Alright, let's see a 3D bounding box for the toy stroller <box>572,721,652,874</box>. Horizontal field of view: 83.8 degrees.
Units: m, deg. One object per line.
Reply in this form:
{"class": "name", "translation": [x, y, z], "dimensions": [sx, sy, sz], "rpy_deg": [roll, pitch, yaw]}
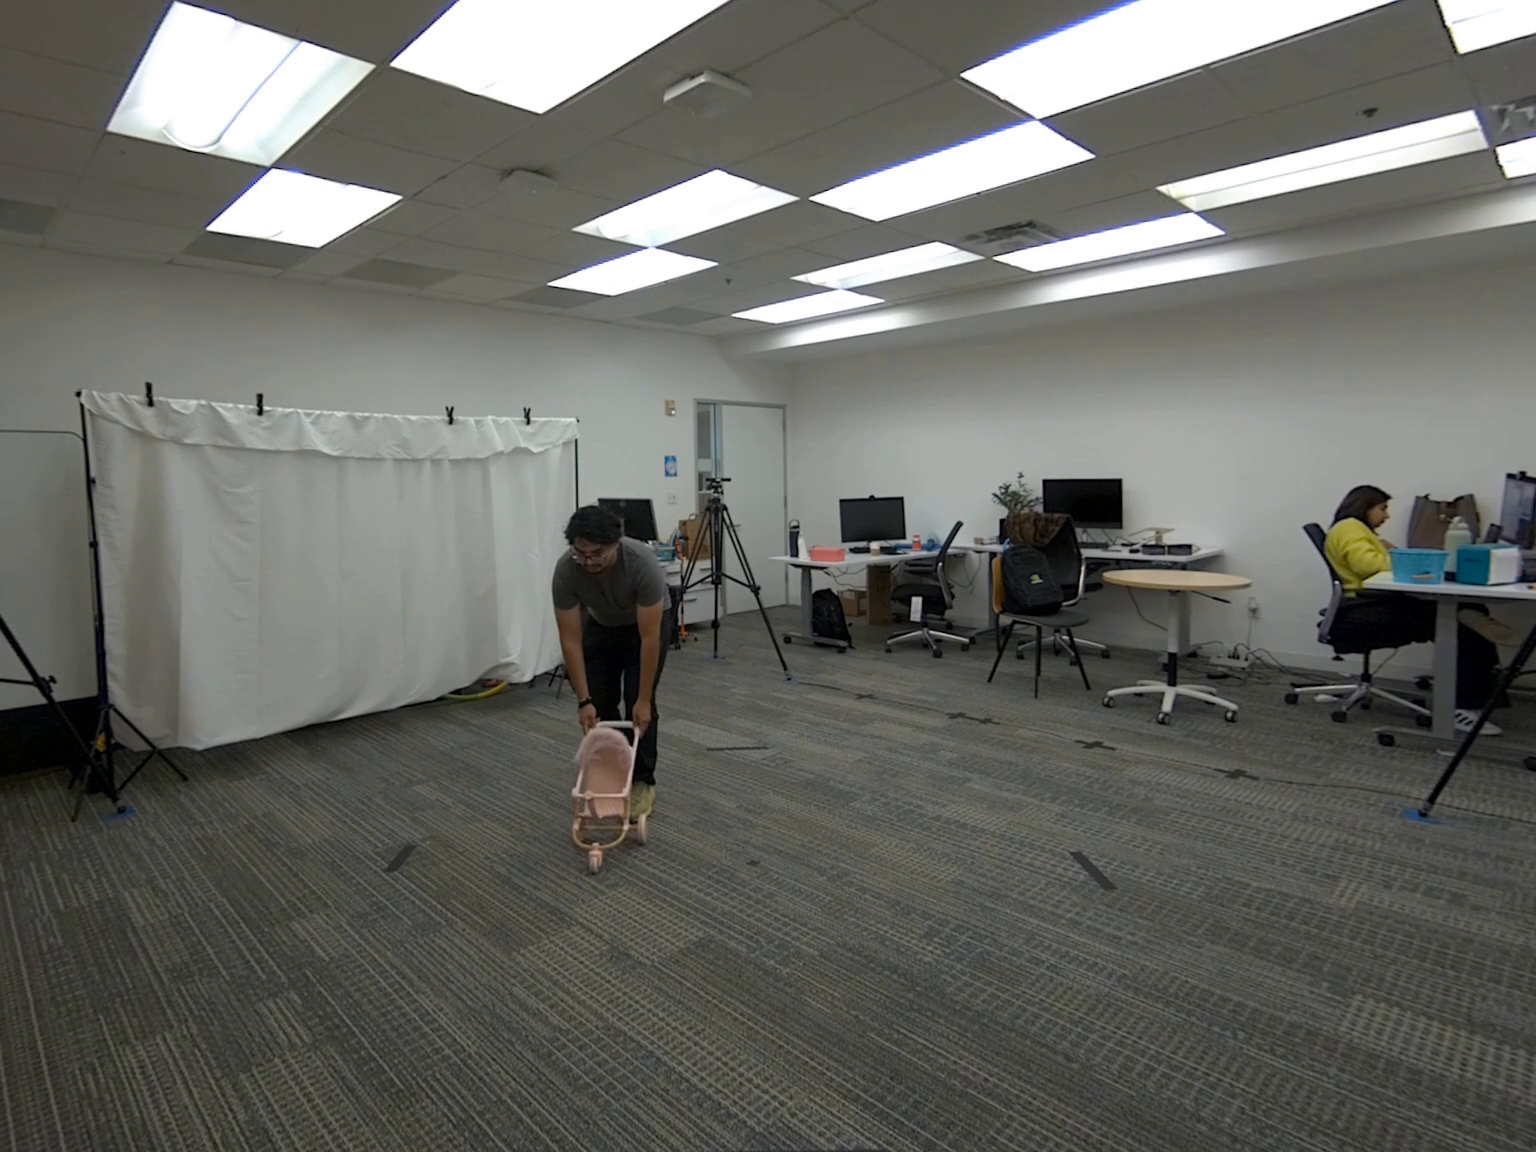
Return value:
{"class": "toy stroller", "translation": [-0.622, 0.818, 3.231], "dimensions": [0.284, 0.541, 0.335], "rpy_deg": [-1, -12, 7]}
